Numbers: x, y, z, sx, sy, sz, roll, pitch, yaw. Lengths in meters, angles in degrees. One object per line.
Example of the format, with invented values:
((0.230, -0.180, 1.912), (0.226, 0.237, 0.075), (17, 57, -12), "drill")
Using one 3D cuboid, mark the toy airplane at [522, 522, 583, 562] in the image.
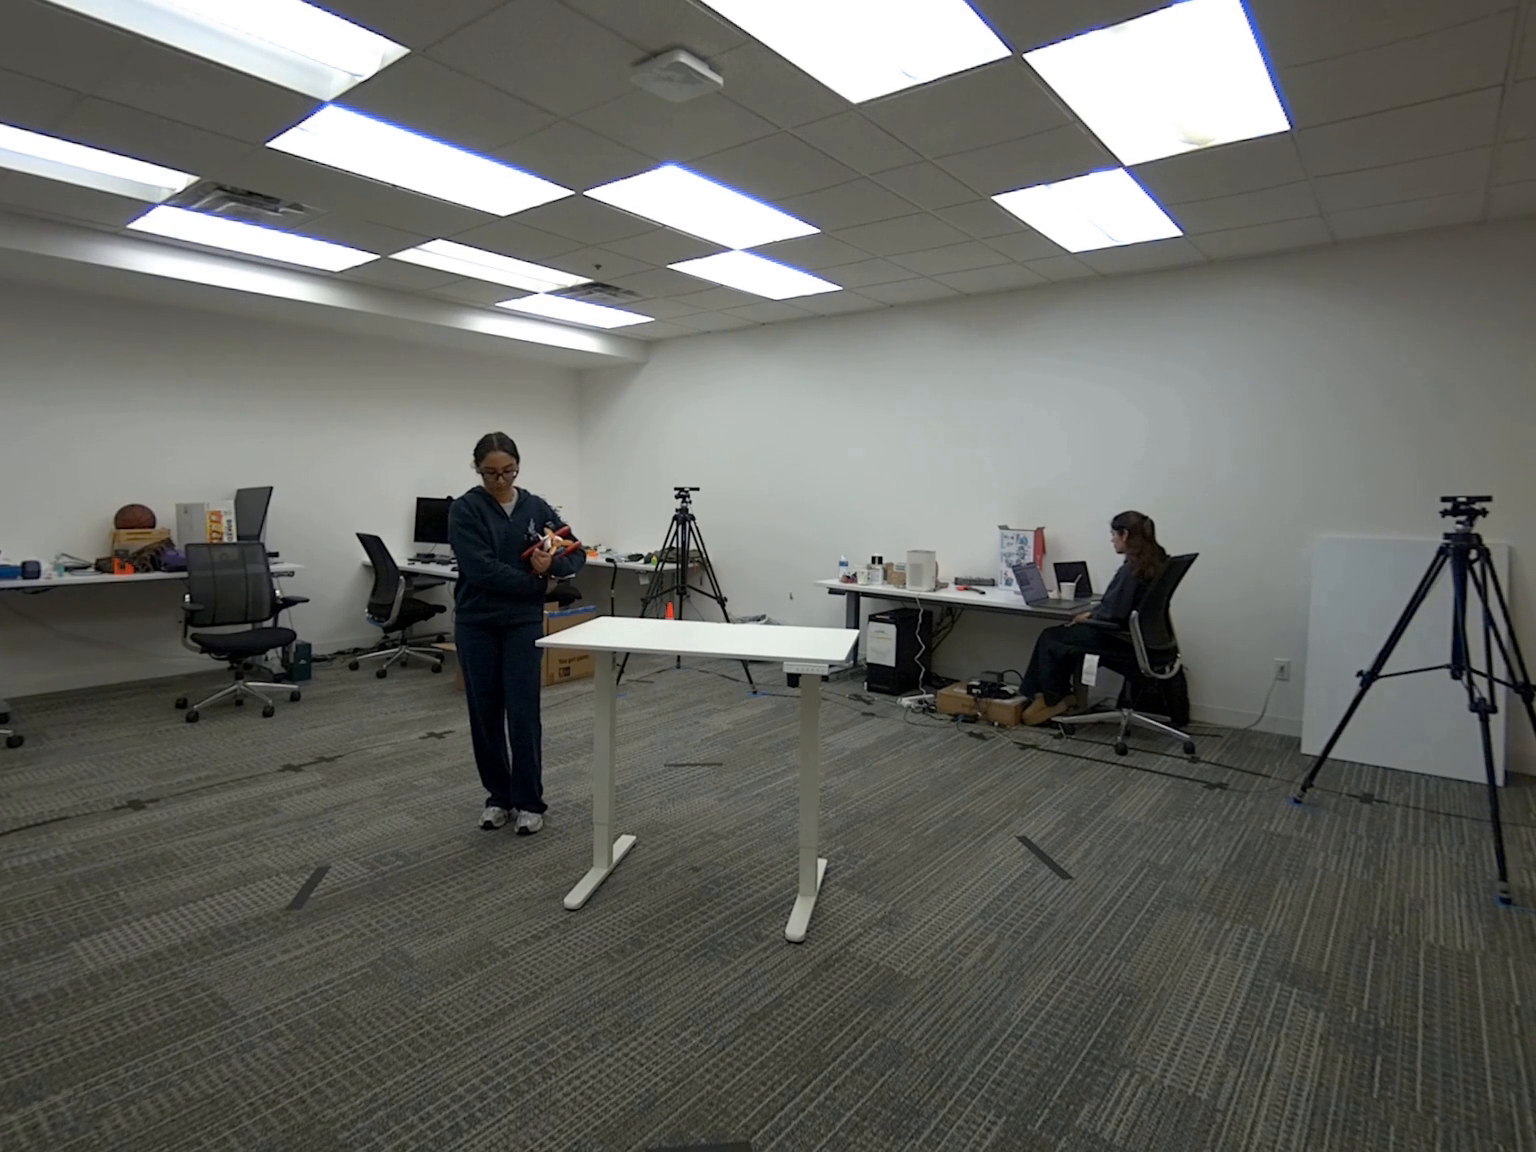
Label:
((-0.933, -0.114, 3.549), (0.251, 0.159, 0.255), (-44, -12, -10), "toy airplane")
